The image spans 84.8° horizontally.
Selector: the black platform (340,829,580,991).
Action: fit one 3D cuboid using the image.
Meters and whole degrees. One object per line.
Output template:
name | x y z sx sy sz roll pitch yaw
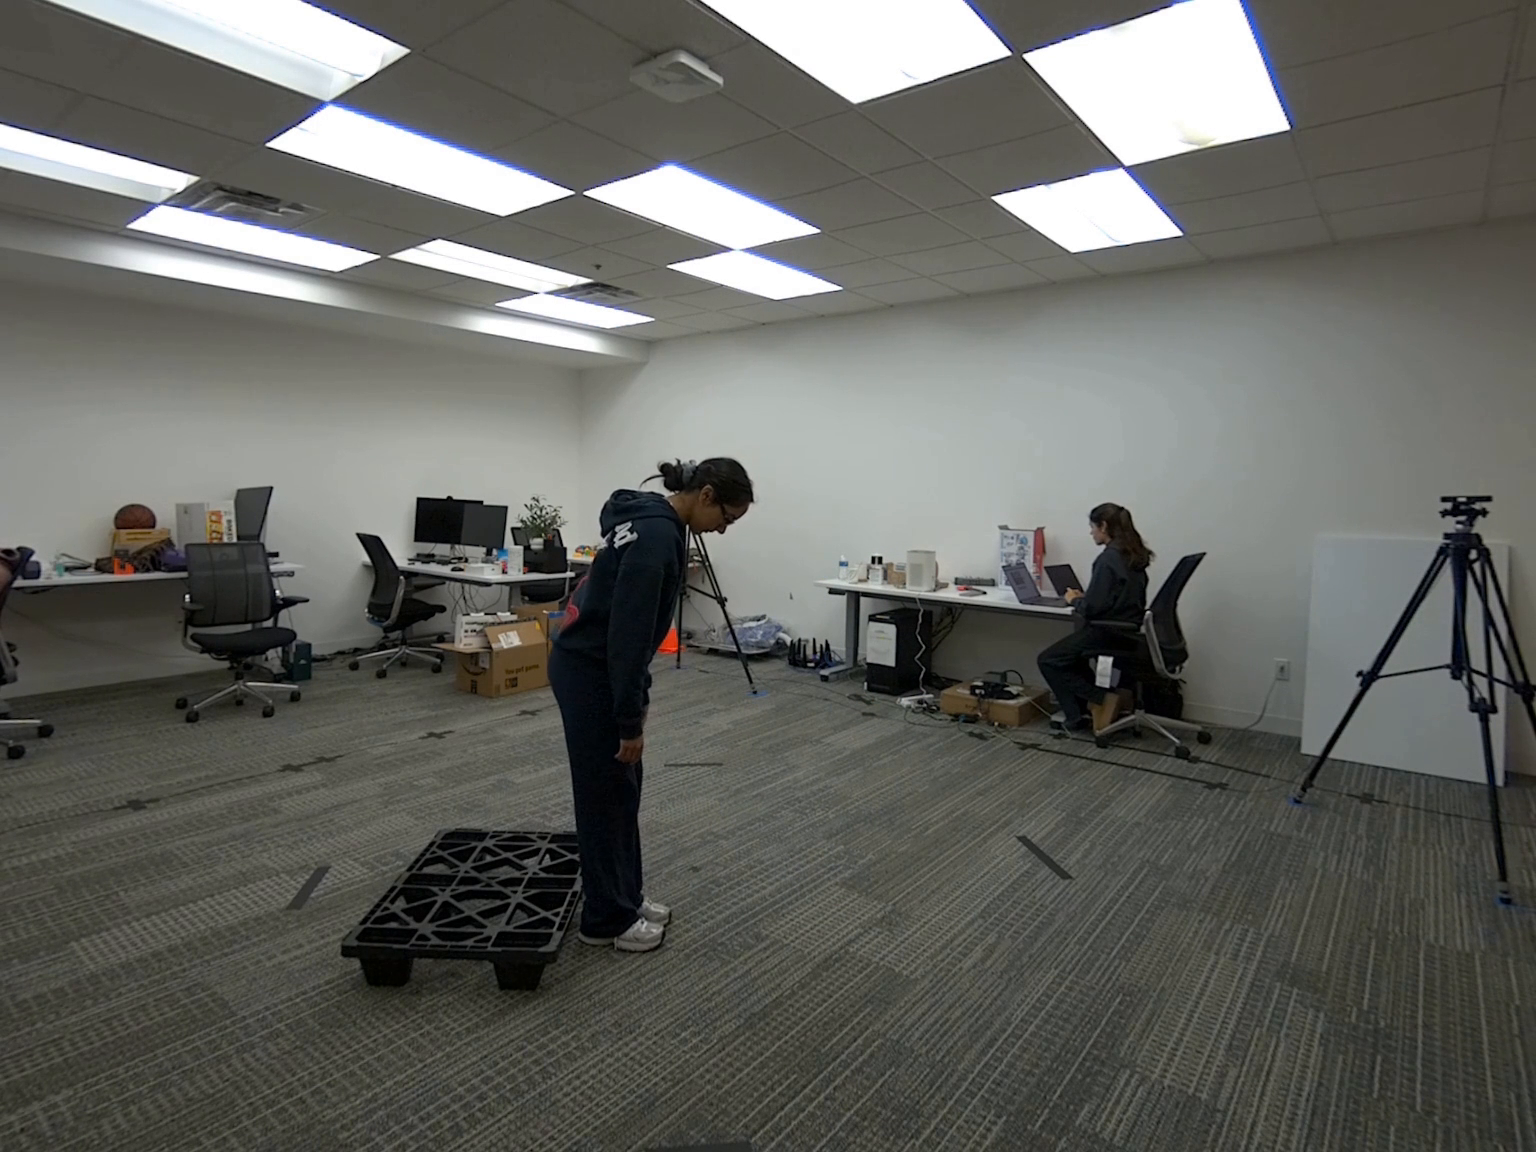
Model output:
black platform | -0.899 1.029 2.703 0.605 0.143 0.809 0 6 -1
